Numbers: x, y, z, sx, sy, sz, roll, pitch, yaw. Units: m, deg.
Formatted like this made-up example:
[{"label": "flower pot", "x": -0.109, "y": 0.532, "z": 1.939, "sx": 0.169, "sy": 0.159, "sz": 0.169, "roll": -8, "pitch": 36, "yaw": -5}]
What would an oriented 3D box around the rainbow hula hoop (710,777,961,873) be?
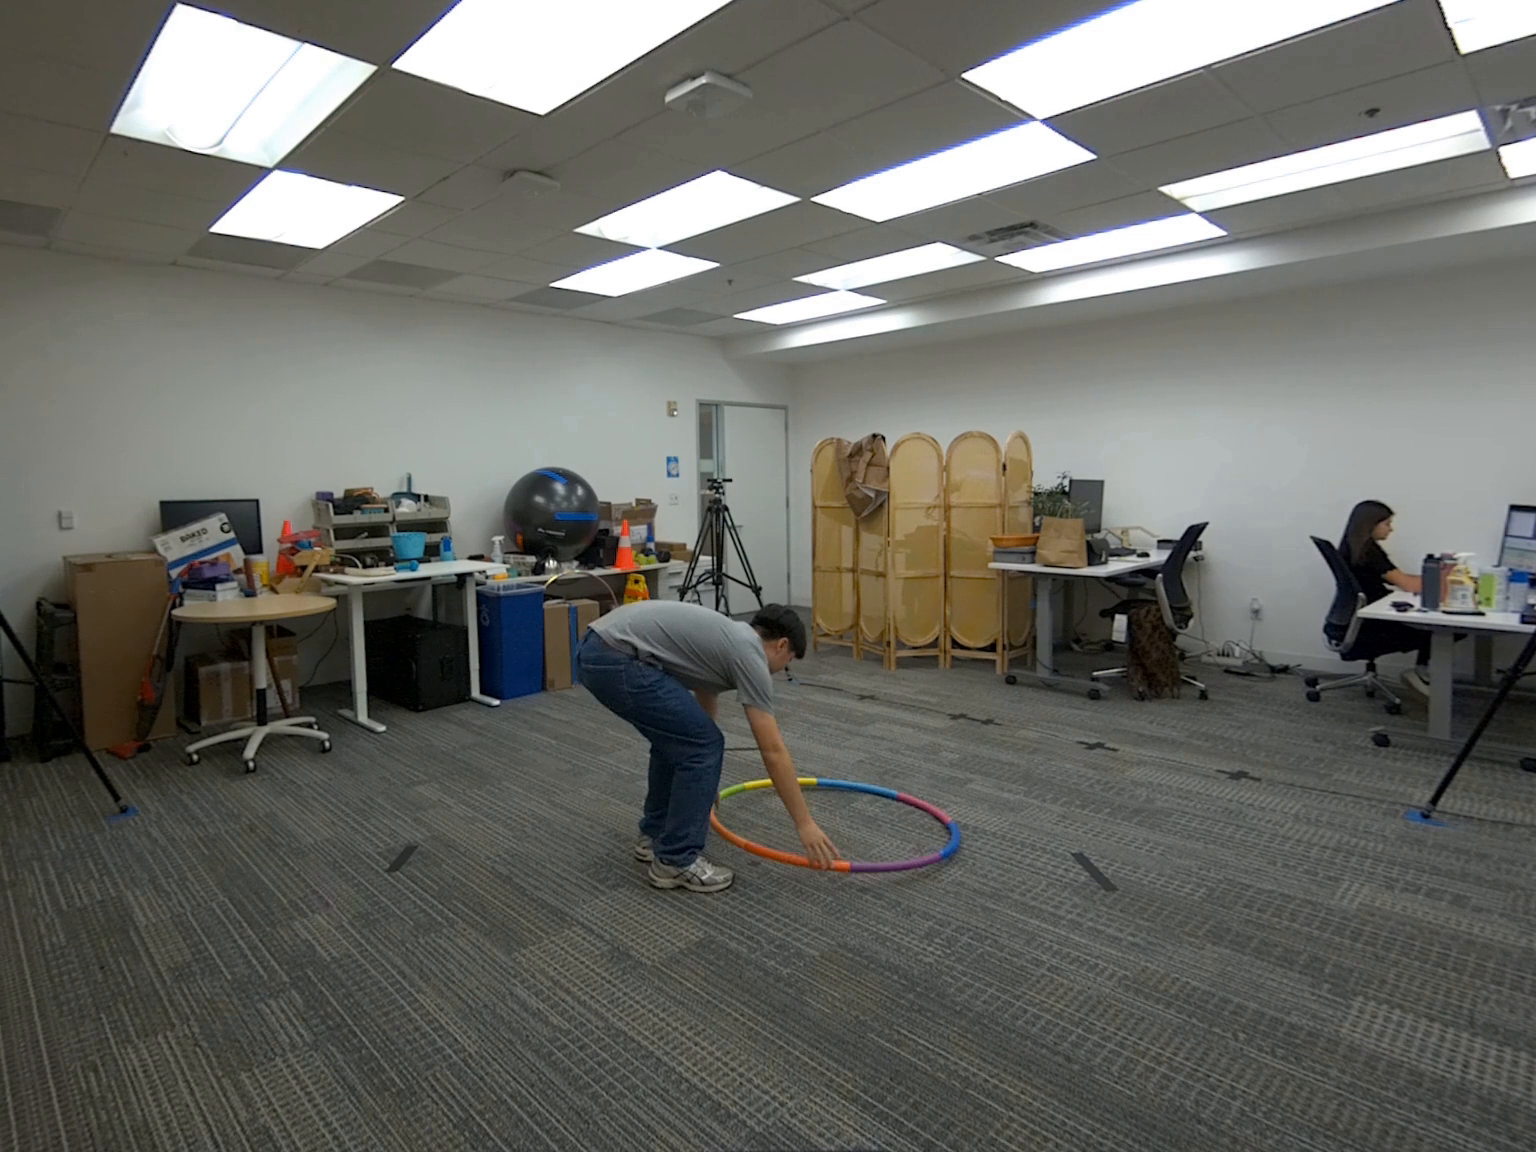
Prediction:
[{"label": "rainbow hula hoop", "x": 0.243, "y": 0.940, "z": 3.363, "sx": 0.978, "sy": 0.035, "sz": 0.981, "roll": 3, "pitch": 3, "yaw": -2}]
